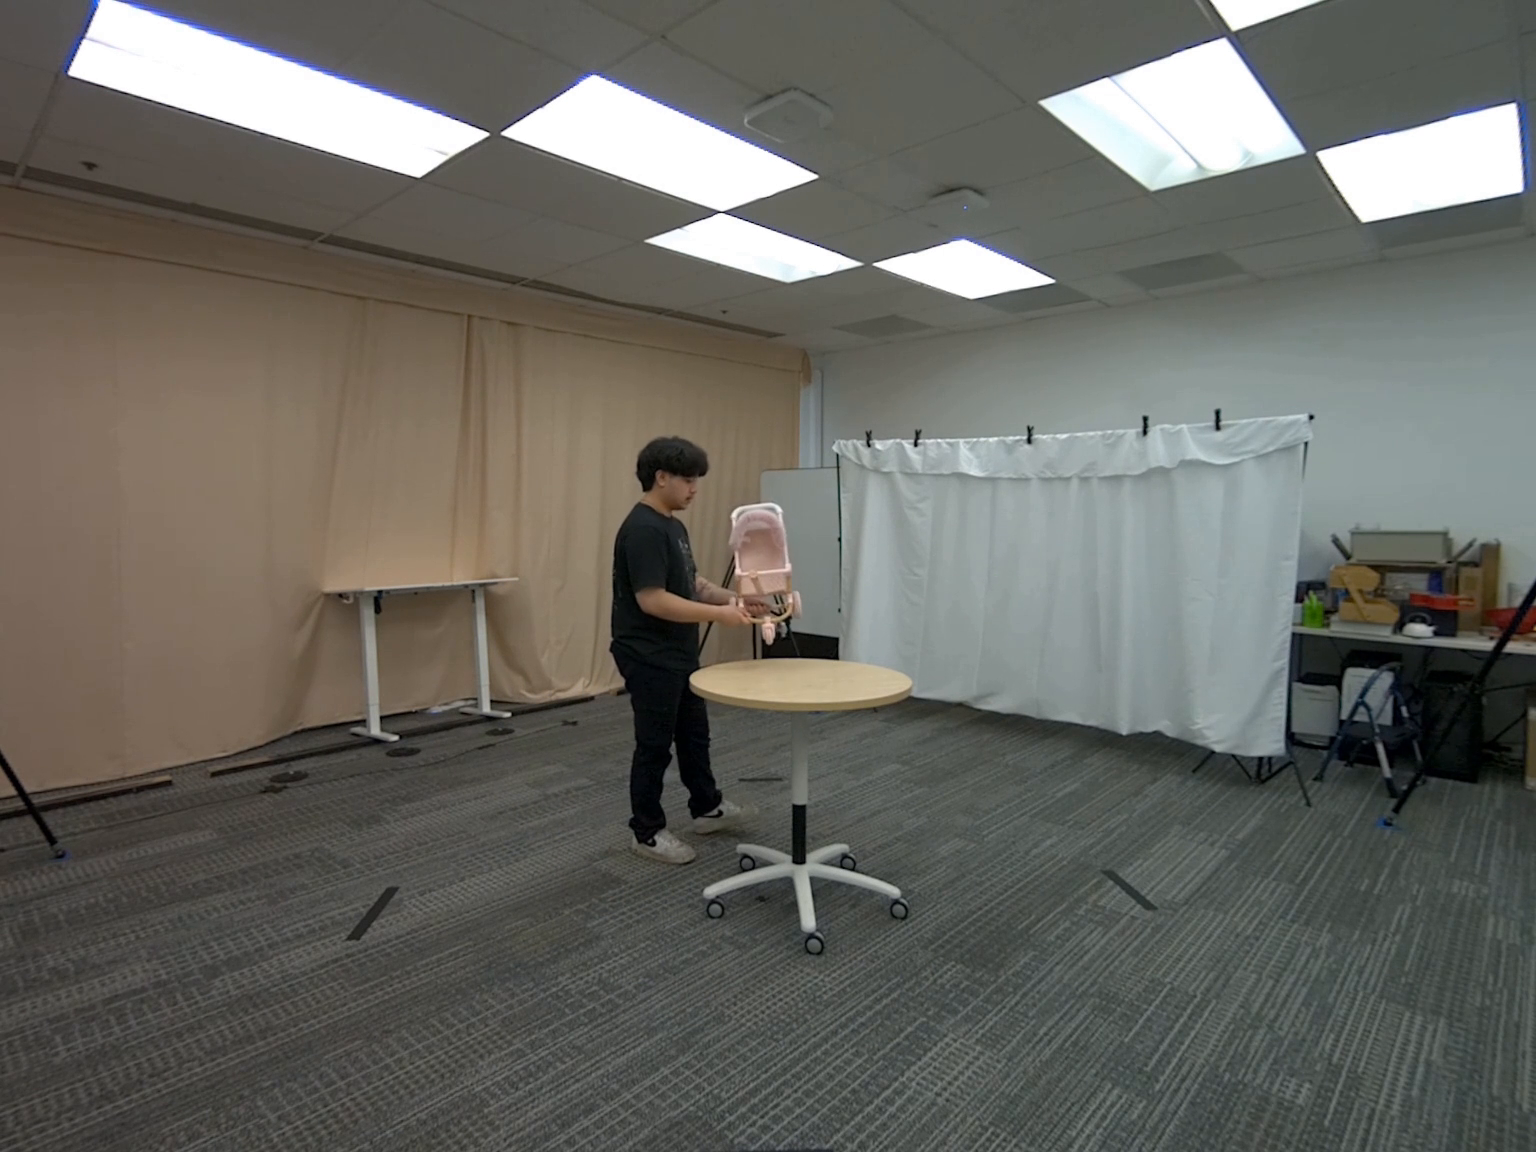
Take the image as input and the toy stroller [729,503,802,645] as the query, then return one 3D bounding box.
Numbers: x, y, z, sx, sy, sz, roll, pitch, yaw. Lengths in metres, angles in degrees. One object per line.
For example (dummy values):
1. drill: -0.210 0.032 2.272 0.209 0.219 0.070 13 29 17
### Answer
1. toy stroller: -0.024 -0.017 3.215 0.283 0.535 0.340 -5 0 3
